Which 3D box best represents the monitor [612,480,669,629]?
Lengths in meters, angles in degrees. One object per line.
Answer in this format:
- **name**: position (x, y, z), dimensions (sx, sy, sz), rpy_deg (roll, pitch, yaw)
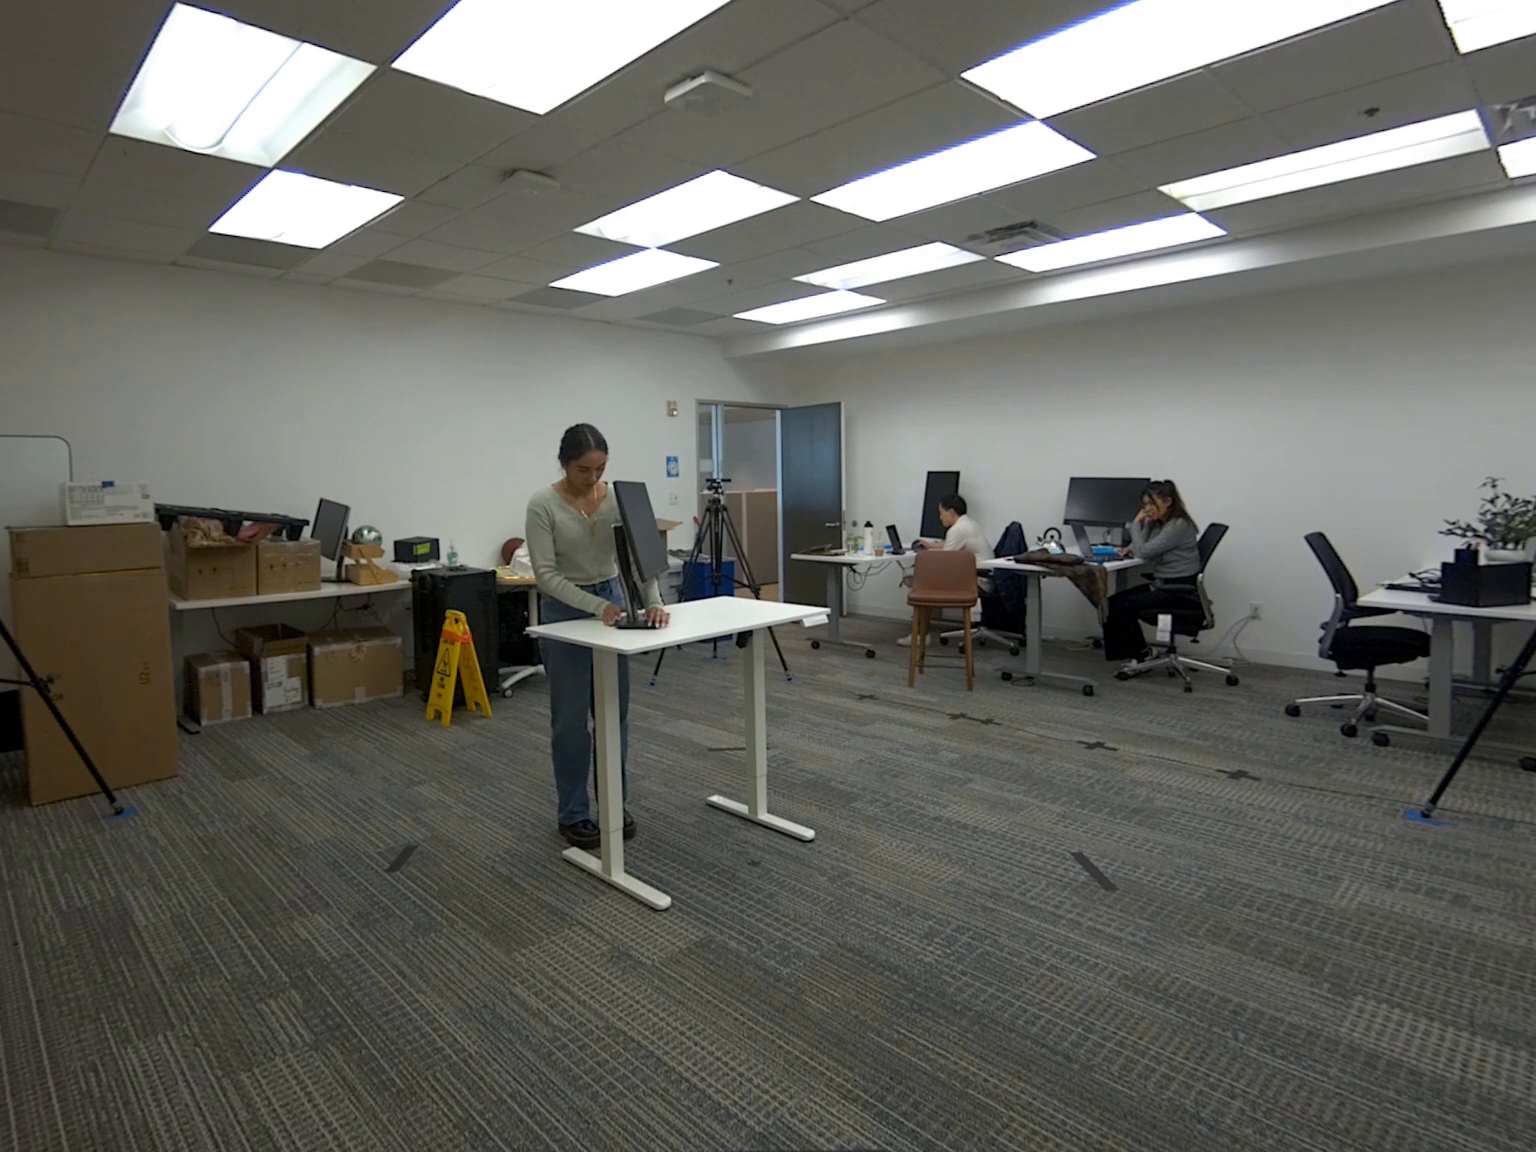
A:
- **monitor**: position (-0.467, -0.083, 3.084), dimensions (0.175, 0.515, 0.530), rpy_deg (1, 3, 1)
